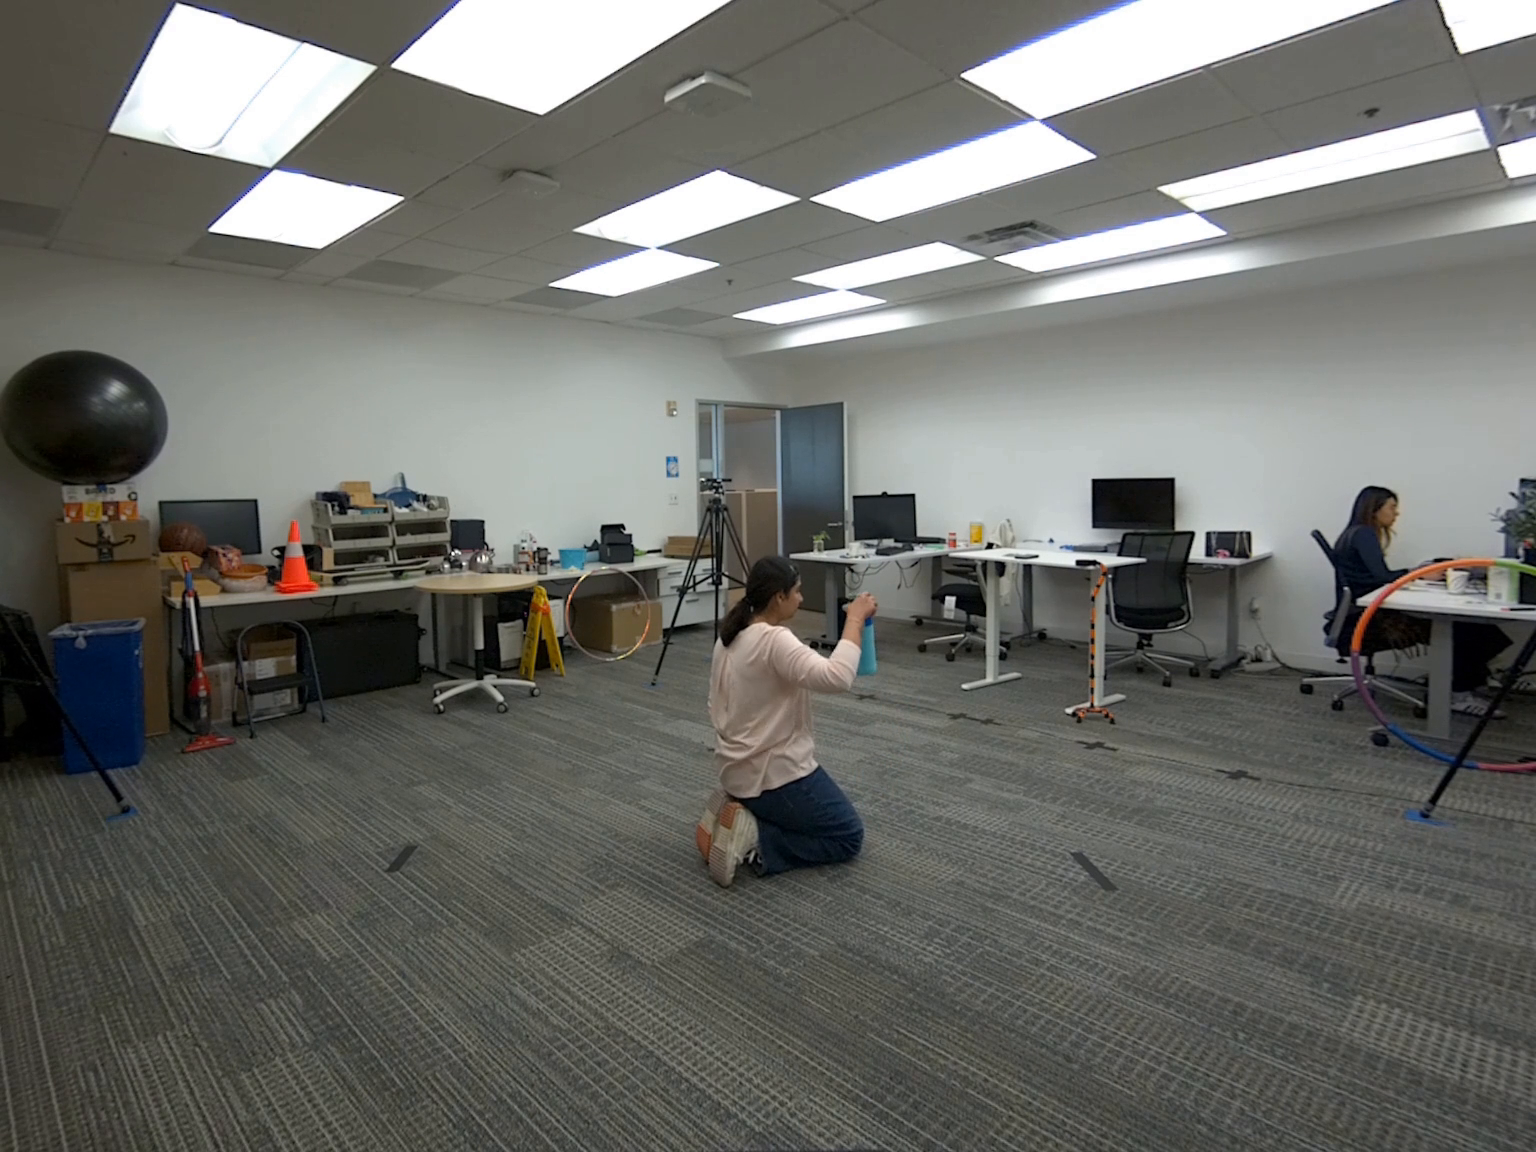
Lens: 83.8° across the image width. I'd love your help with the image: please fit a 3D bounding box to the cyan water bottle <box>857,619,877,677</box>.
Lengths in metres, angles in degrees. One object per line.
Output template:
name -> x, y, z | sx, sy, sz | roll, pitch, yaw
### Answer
cyan water bottle -> 0.329, 0.210, 3.002 | 0.092, 0.281, 0.093 | -4, 8, -1
